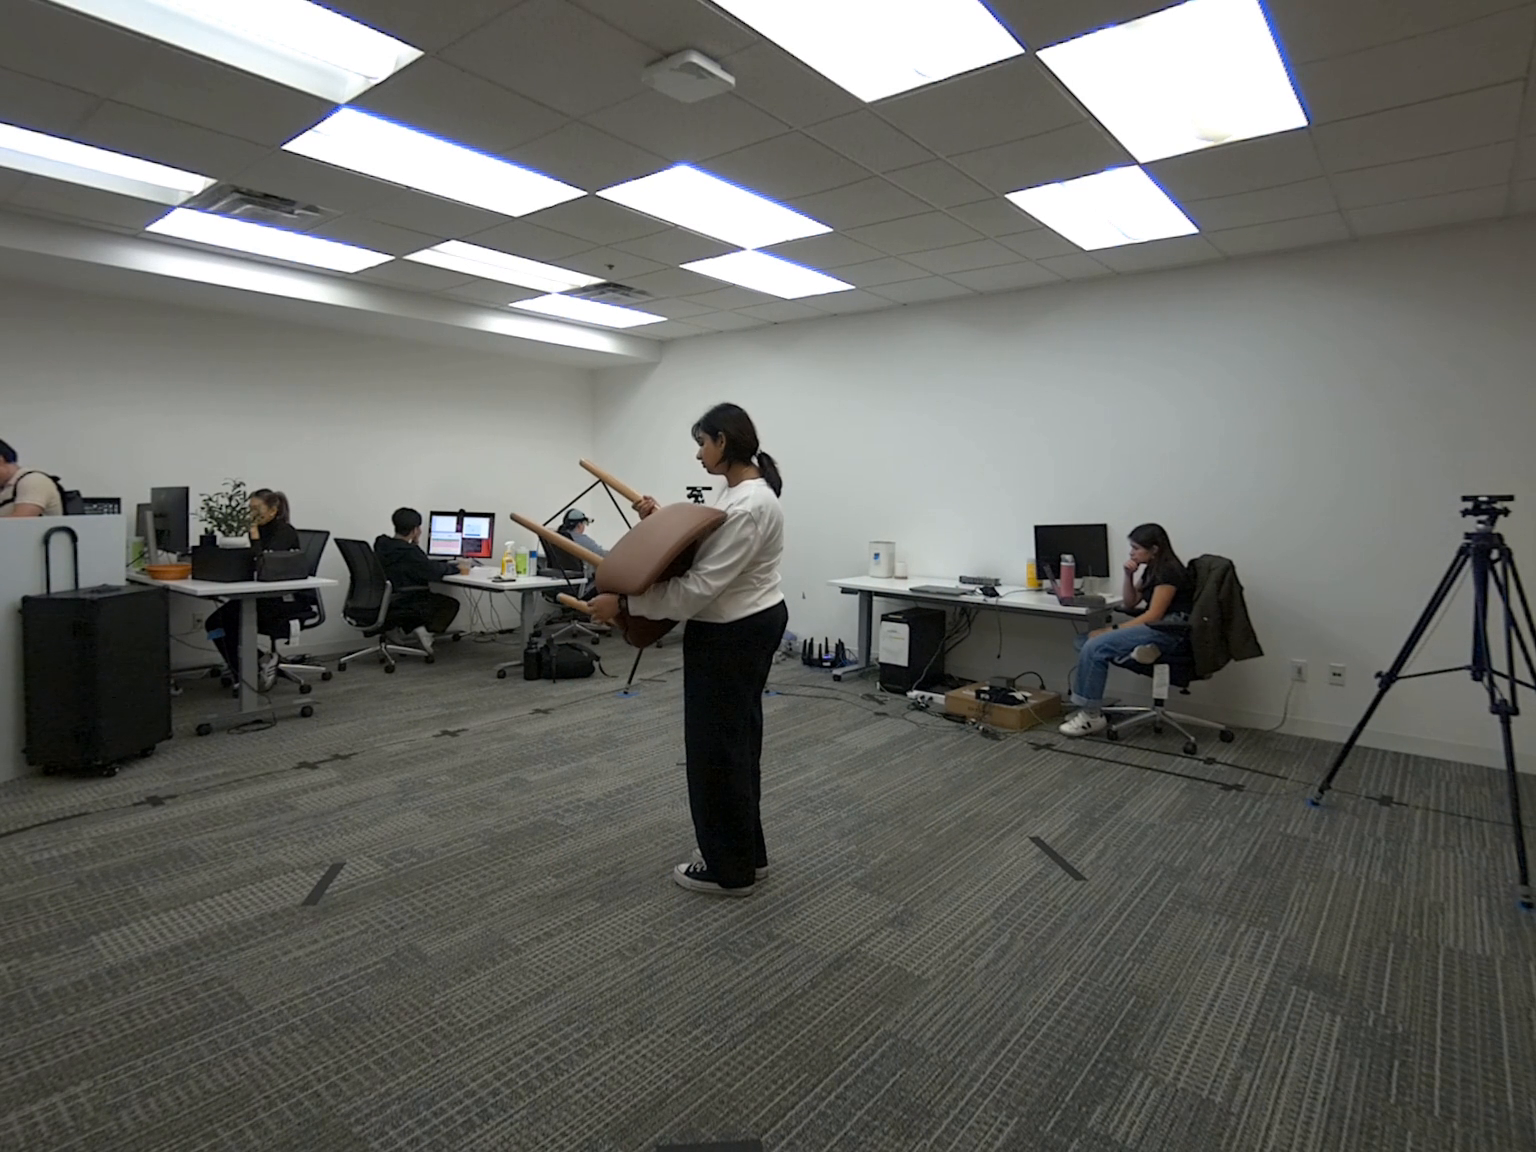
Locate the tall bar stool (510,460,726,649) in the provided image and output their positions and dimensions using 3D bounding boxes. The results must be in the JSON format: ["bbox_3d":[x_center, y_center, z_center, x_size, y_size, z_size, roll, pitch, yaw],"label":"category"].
[{"bbox_3d":[-0.489,-0.058,3.066,0.455,0.450,0.926,-43,40,-23],"label":"tall bar stool"}]
